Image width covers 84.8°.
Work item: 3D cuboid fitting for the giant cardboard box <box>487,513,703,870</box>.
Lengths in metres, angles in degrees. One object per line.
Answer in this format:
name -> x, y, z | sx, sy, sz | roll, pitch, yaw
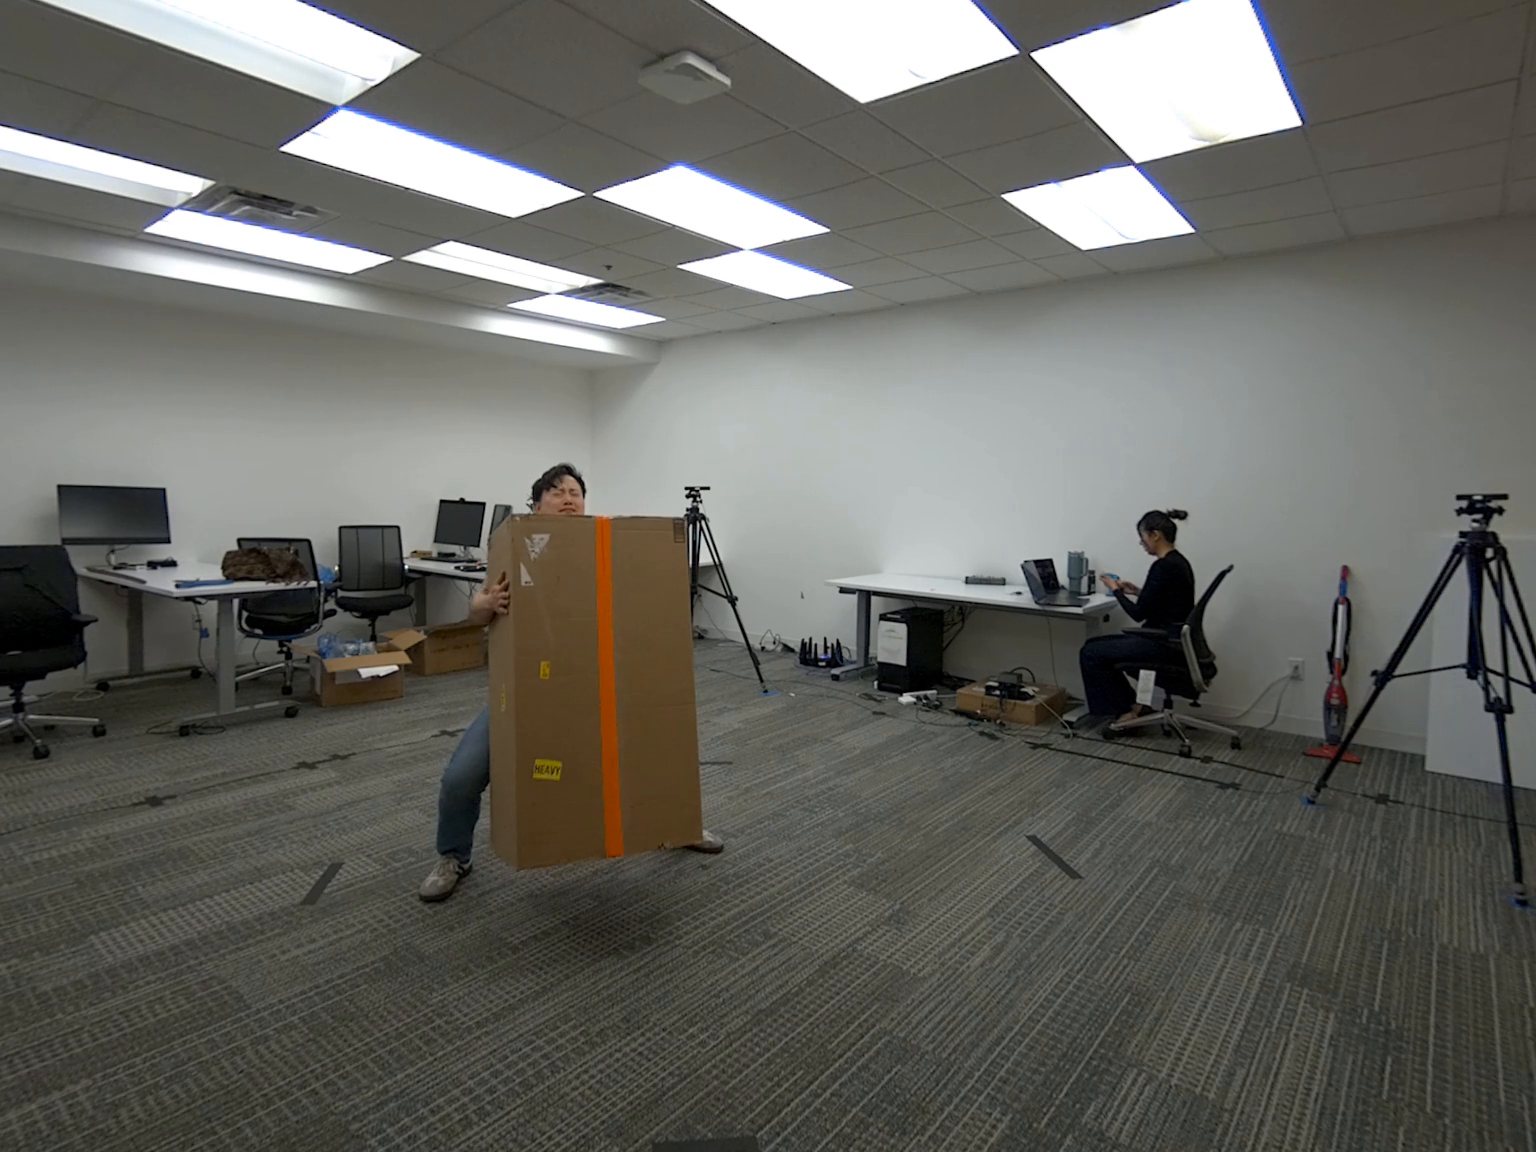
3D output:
giant cardboard box -> -0.588, 0.348, 2.758 | 0.564, 1.036, 0.432 | 0, -10, -25
